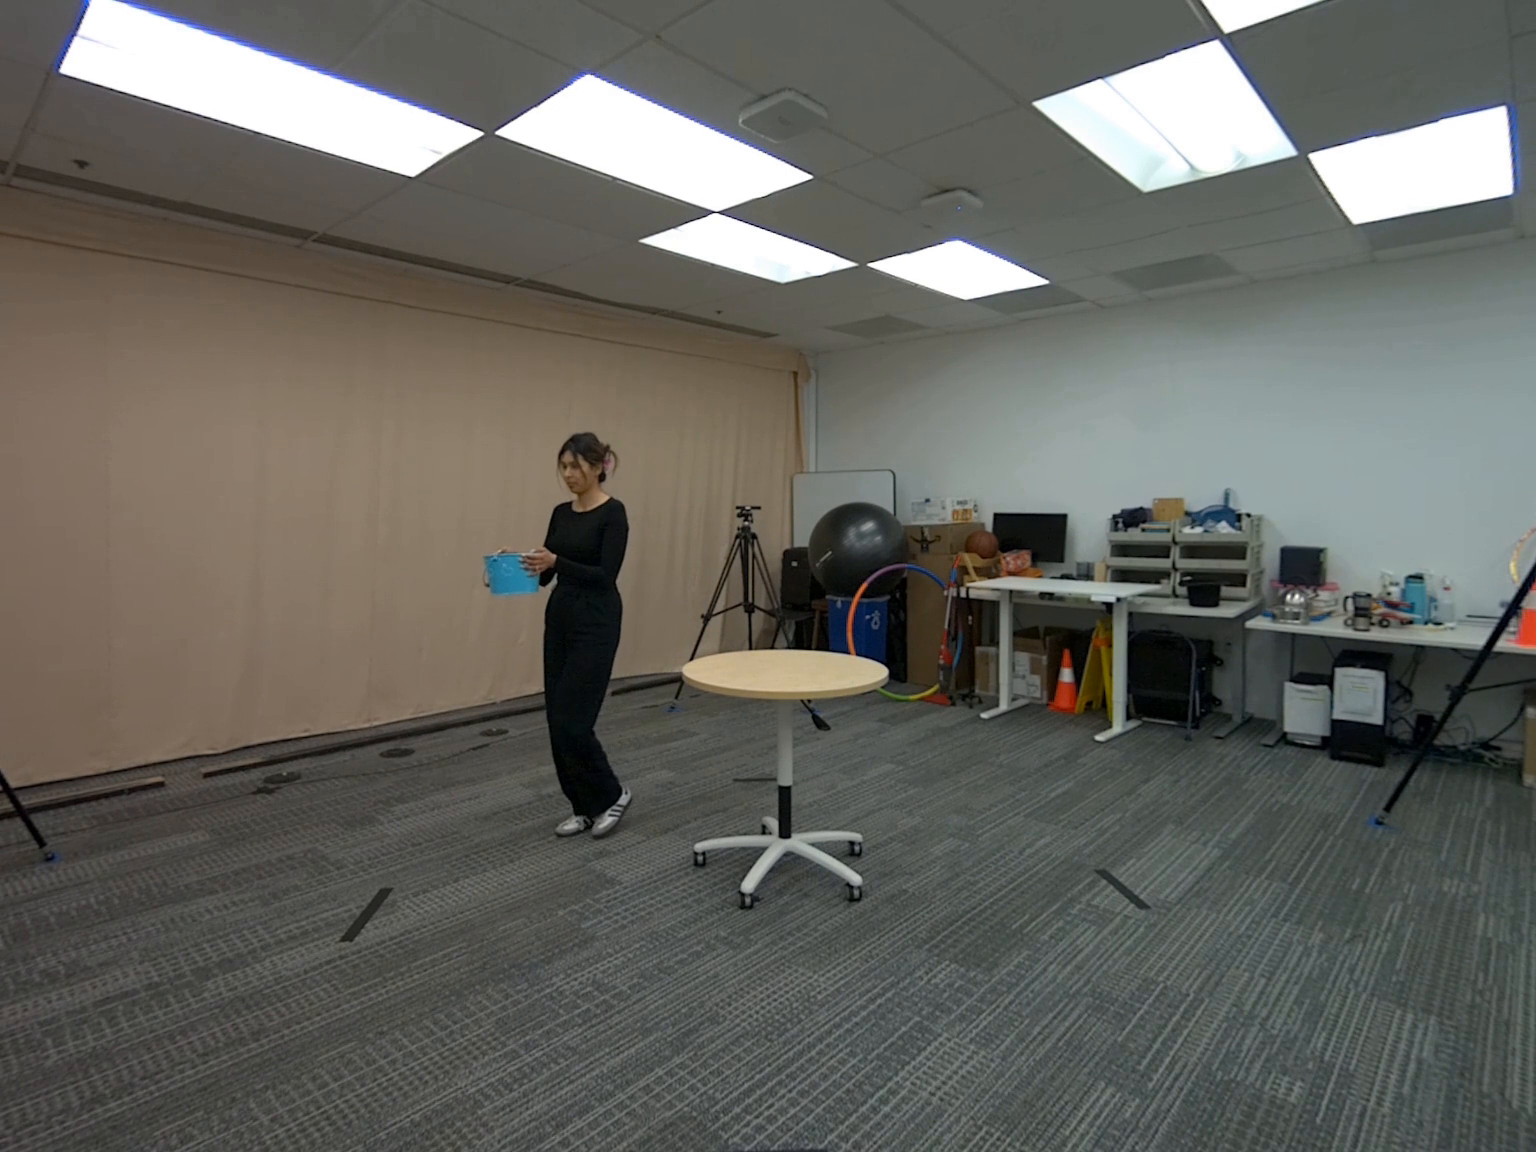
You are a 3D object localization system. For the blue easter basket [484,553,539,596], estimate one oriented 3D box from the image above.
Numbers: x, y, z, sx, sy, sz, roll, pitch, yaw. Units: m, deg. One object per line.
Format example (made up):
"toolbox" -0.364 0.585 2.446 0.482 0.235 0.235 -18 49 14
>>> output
"blue easter basket" -1.004 -0.002 3.317 0.243 0.156 0.244 -1 0 -2
